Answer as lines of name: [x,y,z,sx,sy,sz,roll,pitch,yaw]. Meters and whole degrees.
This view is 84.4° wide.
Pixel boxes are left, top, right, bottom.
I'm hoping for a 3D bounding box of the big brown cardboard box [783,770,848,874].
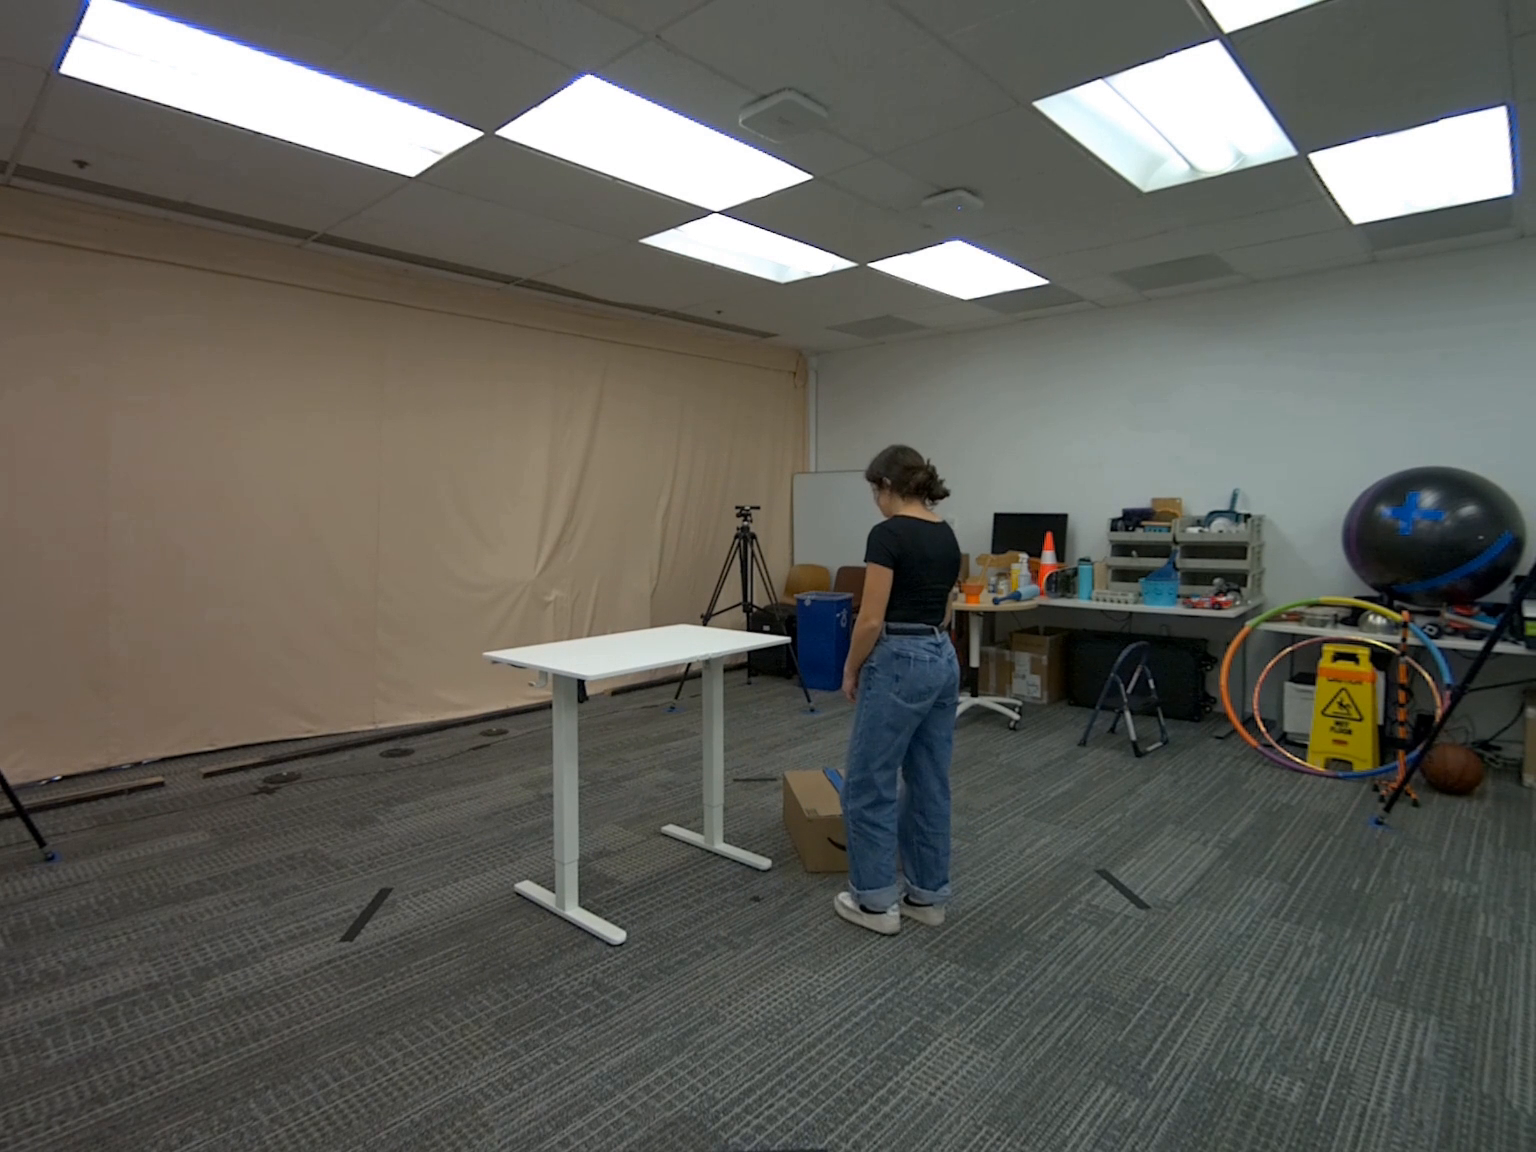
big brown cardboard box: [0.314,0.990,3.468,0.415,0.233,0.594,0,4,-8]
